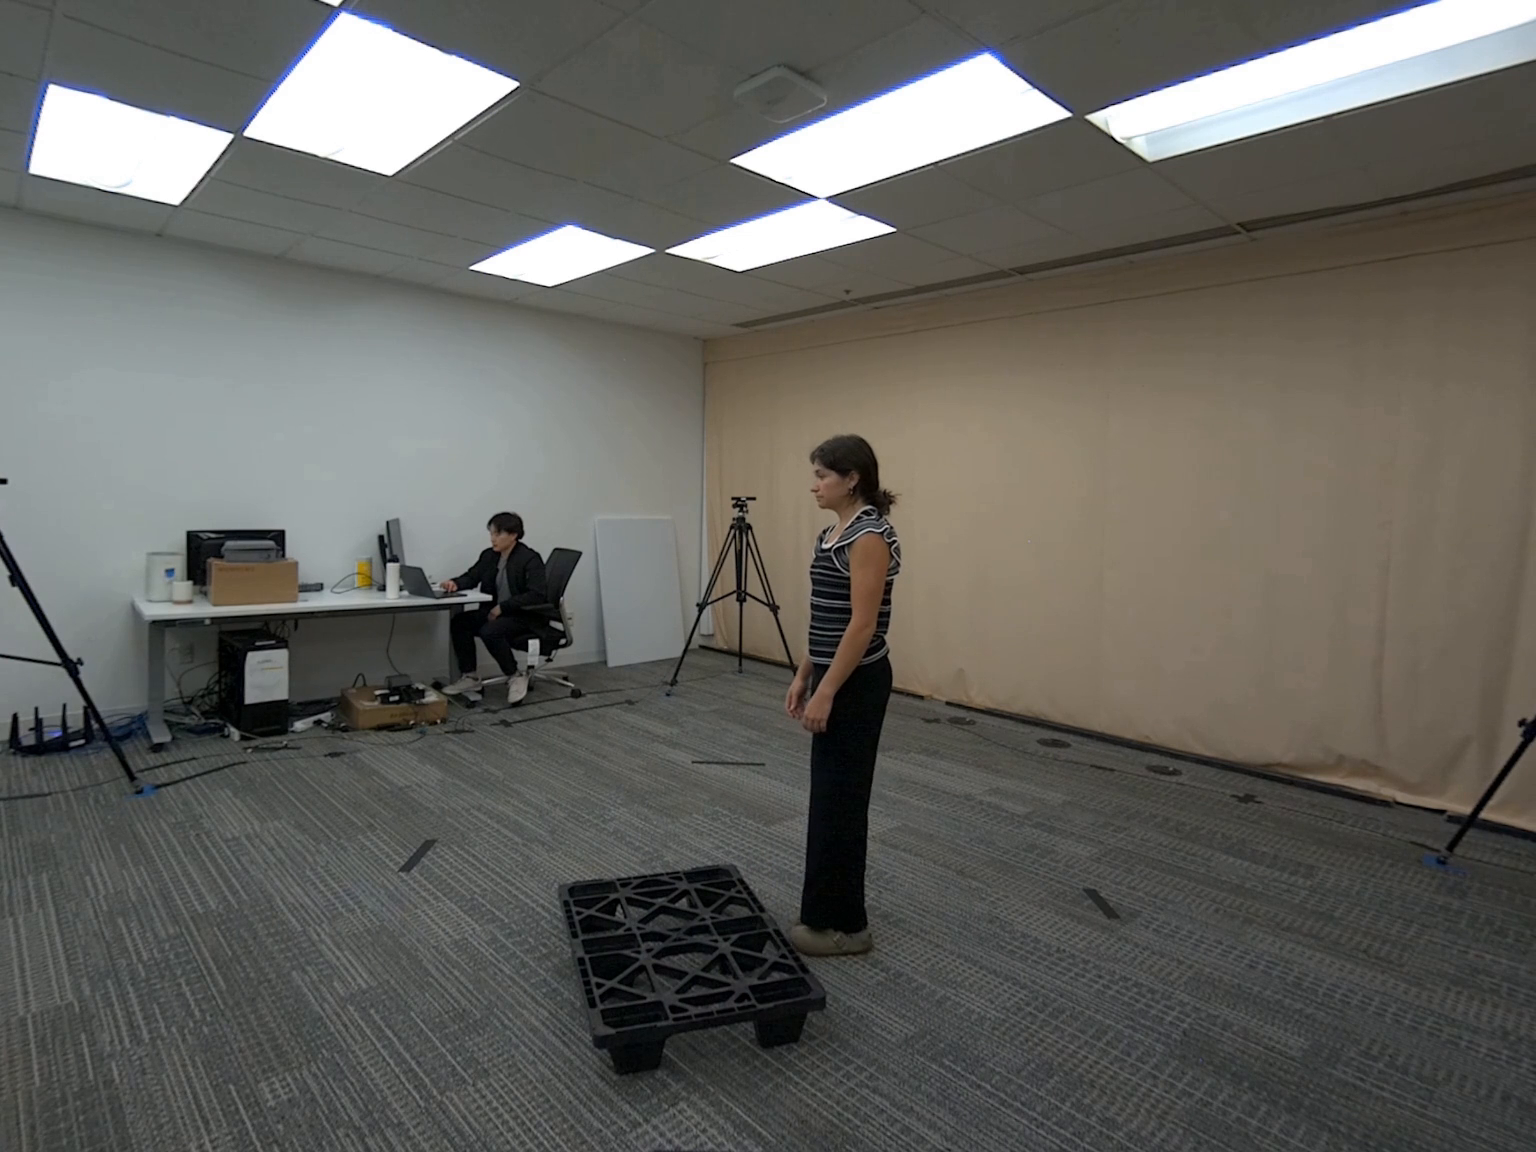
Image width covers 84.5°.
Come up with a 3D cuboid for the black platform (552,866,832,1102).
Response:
[{"bbox_3d":[-0.268,1.104,2.429,0.596,0.143,0.820,0,6,-20],"label":"black platform"}]
